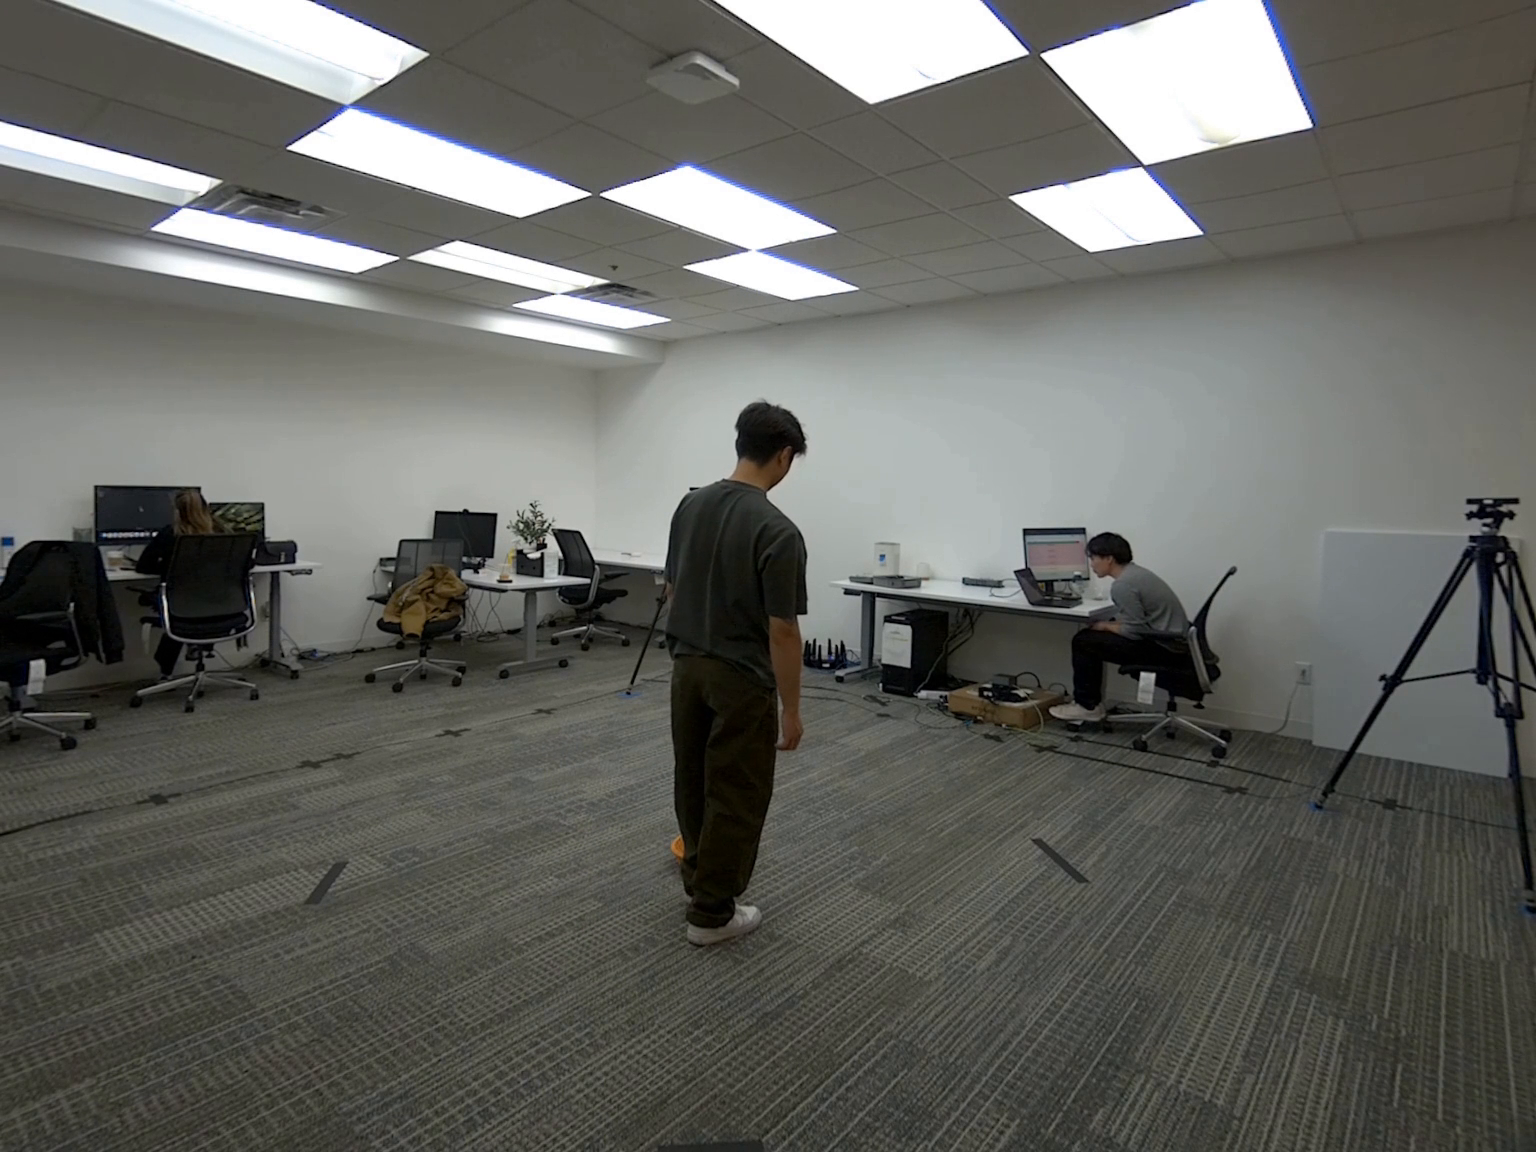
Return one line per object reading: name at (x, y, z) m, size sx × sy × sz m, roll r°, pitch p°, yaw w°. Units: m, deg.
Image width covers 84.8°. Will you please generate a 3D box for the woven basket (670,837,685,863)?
woven basket at (-0.229, 1.012, 3.187) m, size 0.259 × 0.073 × 0.343 m, roll 3°, pitch 6°, yaw 24°
